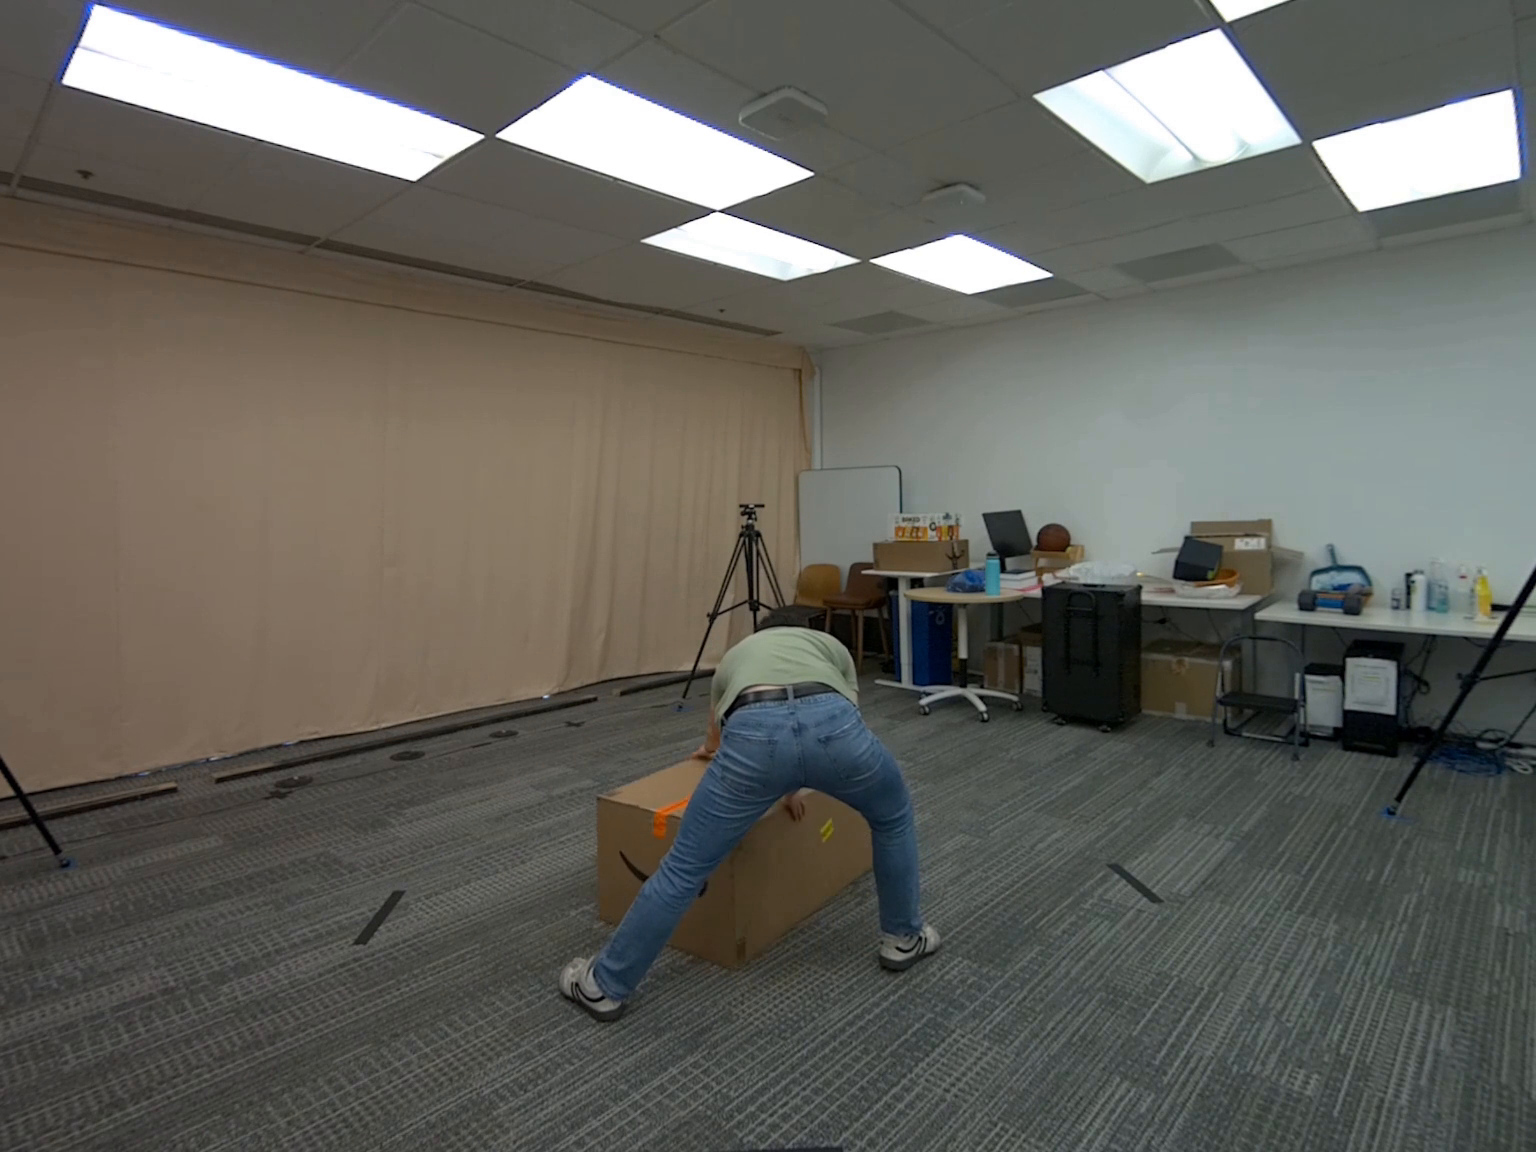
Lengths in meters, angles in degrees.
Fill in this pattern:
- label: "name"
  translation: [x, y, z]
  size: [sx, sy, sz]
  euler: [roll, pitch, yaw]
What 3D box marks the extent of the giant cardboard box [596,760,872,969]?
- label: "giant cardboard box"
  translation: [-0.061, 0.920, 3.070]
  size: [0.596, 0.425, 0.996]
  euler: [3, 6, 35]
